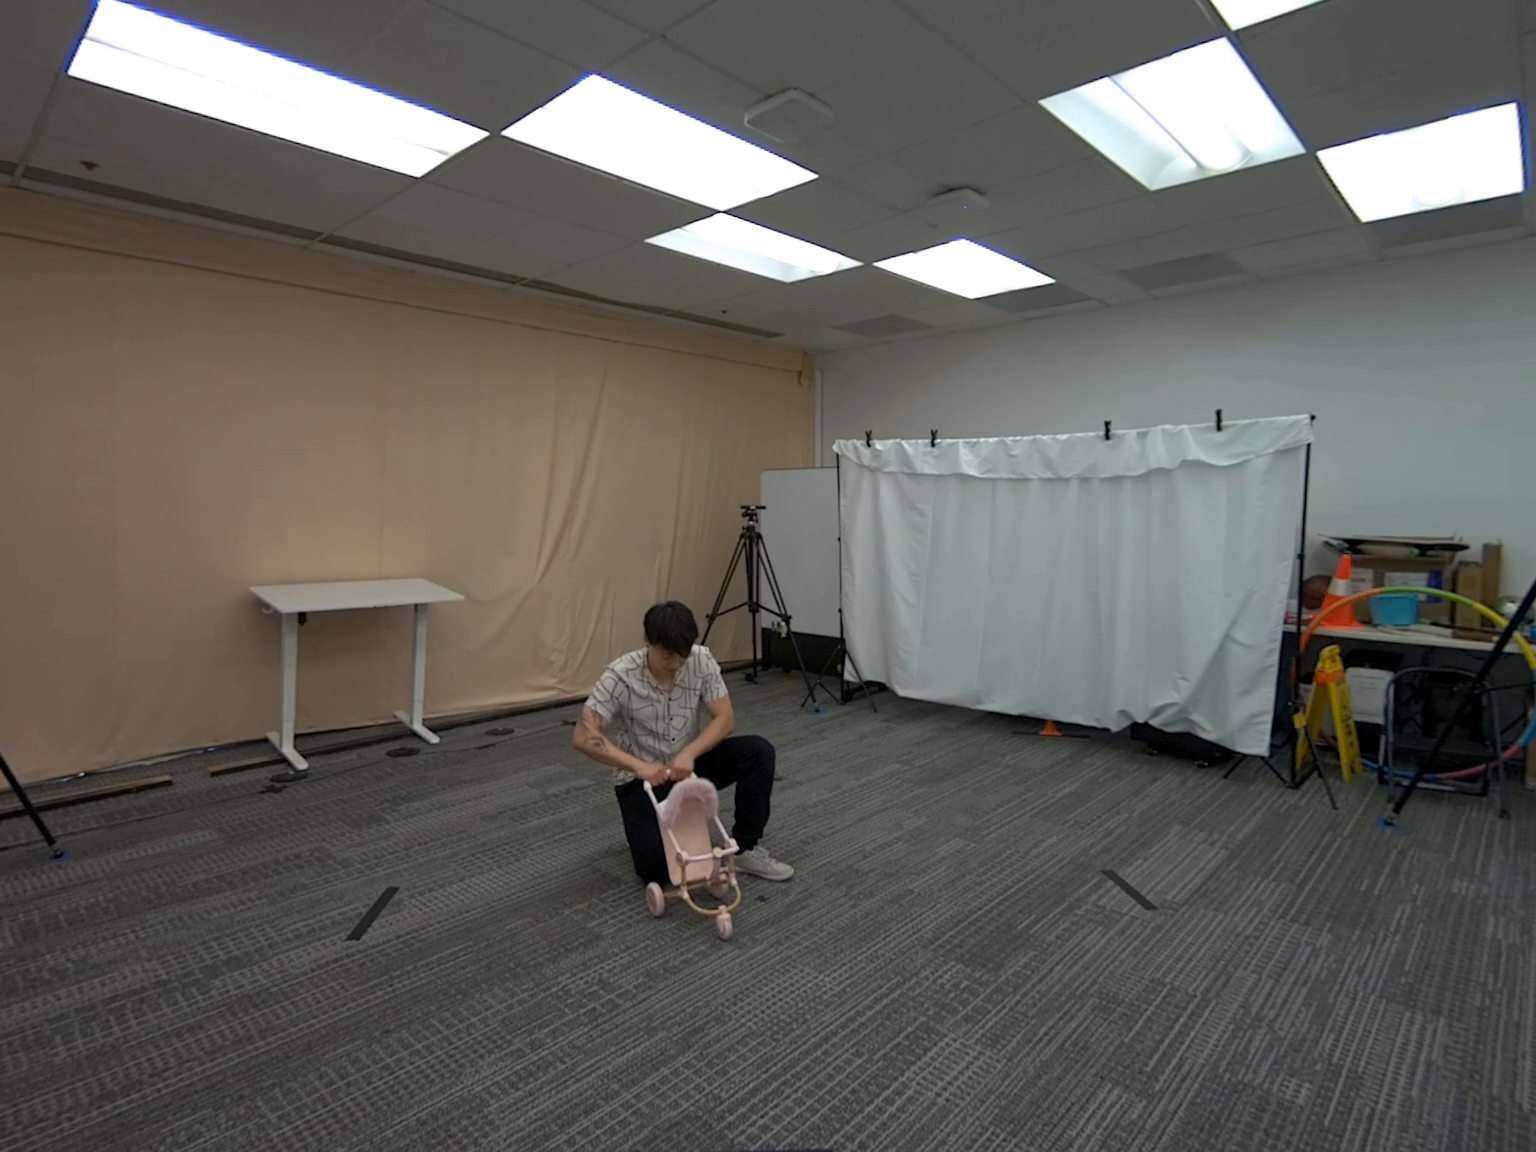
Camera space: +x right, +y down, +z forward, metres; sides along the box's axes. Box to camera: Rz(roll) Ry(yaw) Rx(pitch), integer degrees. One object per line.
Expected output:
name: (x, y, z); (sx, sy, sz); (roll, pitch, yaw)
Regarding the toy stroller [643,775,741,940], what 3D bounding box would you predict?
toy stroller: (-0.245, 0.924, 2.860); (0.274, 0.539, 0.347); (-2, -12, -29)
